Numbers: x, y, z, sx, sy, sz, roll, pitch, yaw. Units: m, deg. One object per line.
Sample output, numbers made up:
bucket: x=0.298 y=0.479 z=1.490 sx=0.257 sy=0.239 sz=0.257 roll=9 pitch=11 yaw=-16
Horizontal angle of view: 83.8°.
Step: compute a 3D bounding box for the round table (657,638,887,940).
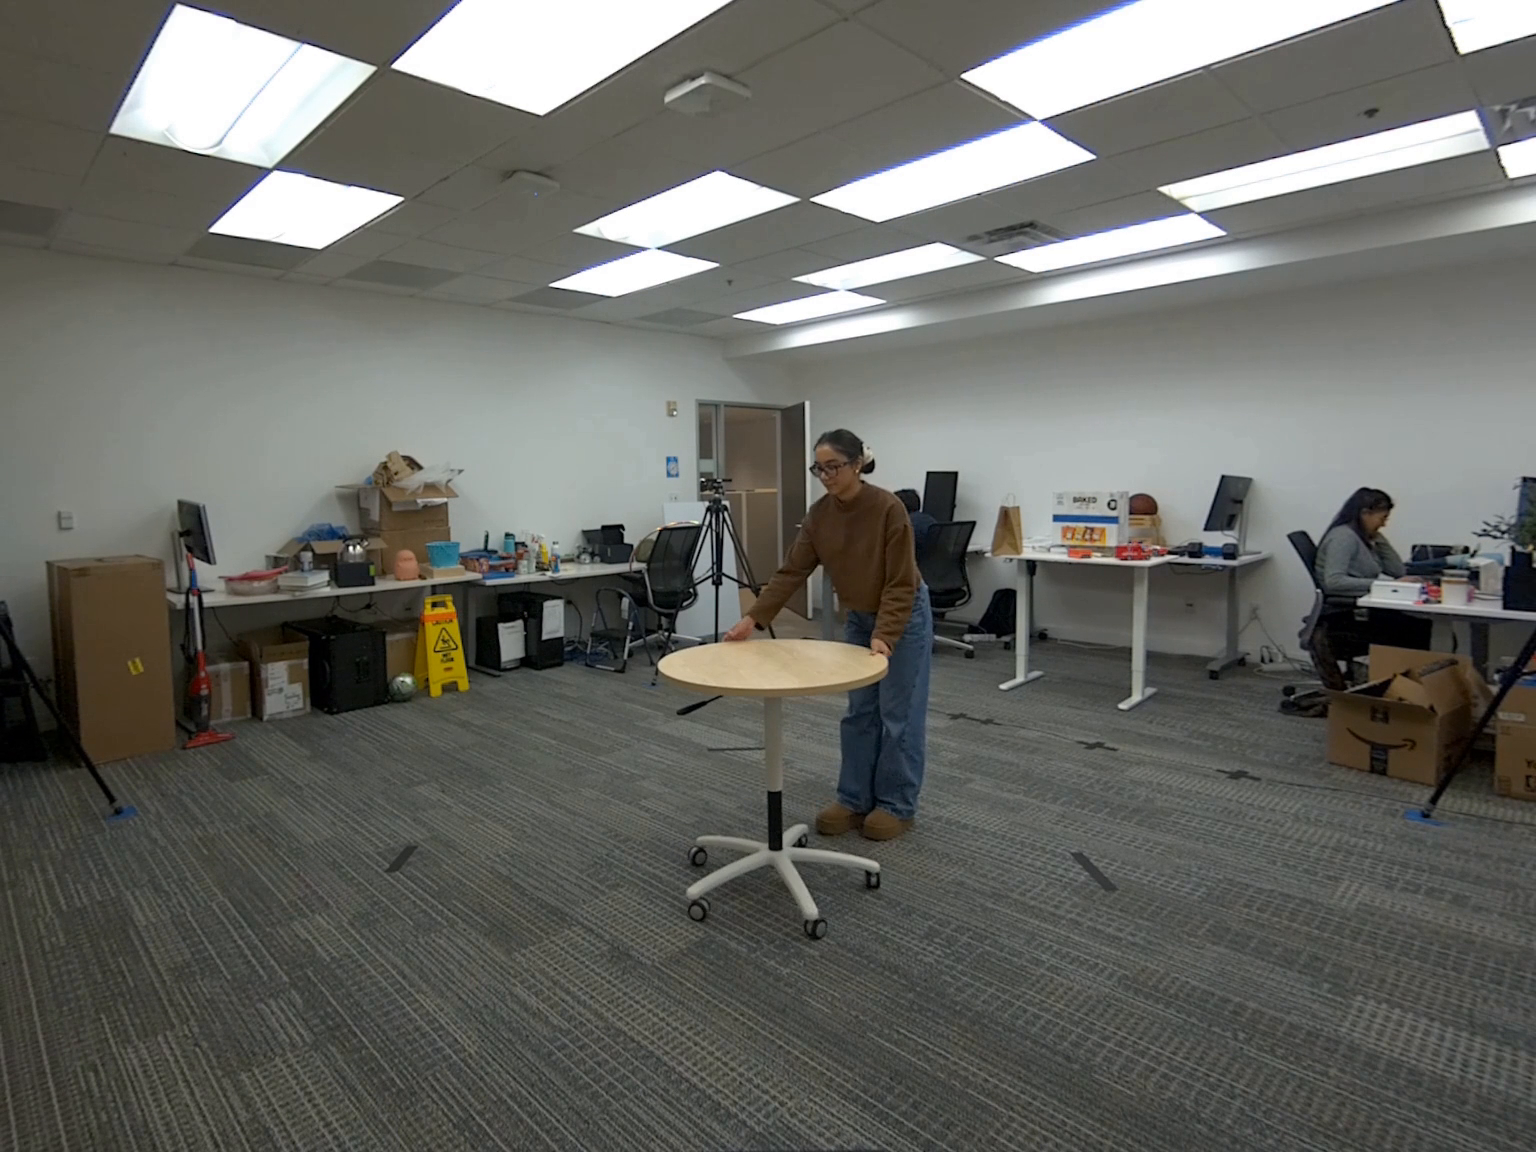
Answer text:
round table: x=0.025 y=0.676 z=2.895 sx=0.763 sy=0.791 sz=0.768 roll=-2 pitch=5 yaw=-2
